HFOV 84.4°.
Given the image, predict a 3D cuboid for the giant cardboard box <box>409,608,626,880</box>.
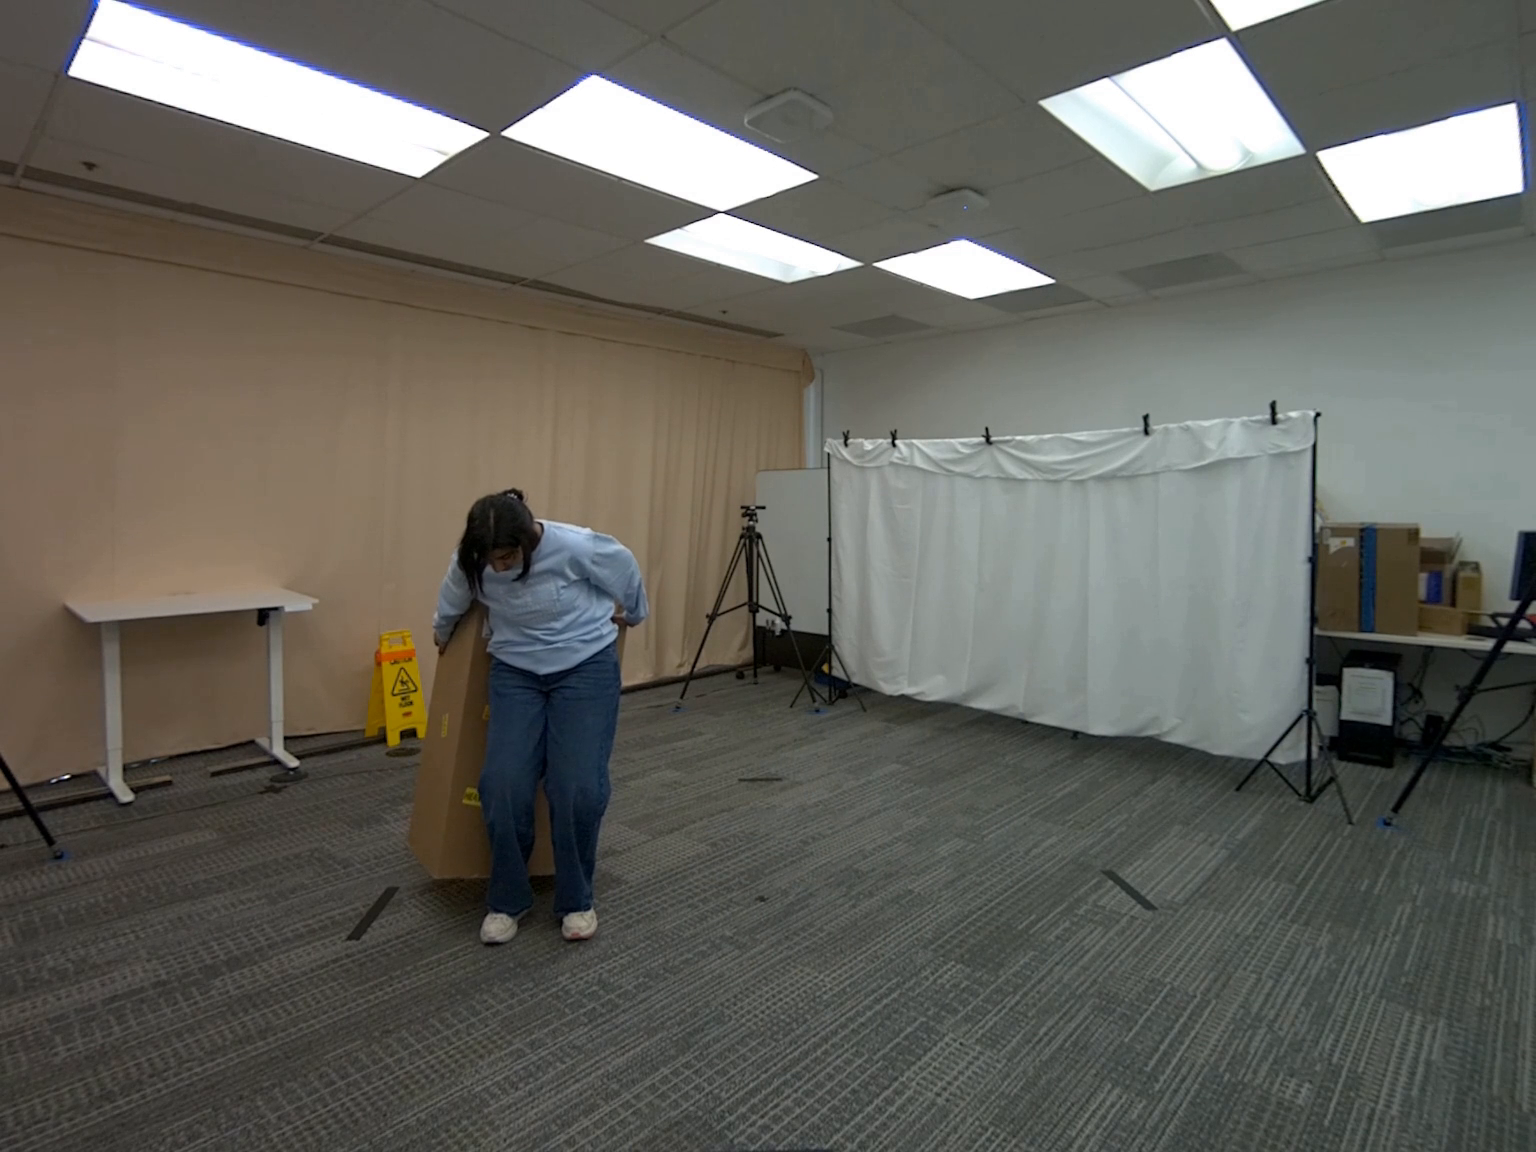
[{"bbox_3d":[-0.922,0.534,3.144,0.559,1.029,0.438,11,-8,-33],"label":"giant cardboard box"}]
